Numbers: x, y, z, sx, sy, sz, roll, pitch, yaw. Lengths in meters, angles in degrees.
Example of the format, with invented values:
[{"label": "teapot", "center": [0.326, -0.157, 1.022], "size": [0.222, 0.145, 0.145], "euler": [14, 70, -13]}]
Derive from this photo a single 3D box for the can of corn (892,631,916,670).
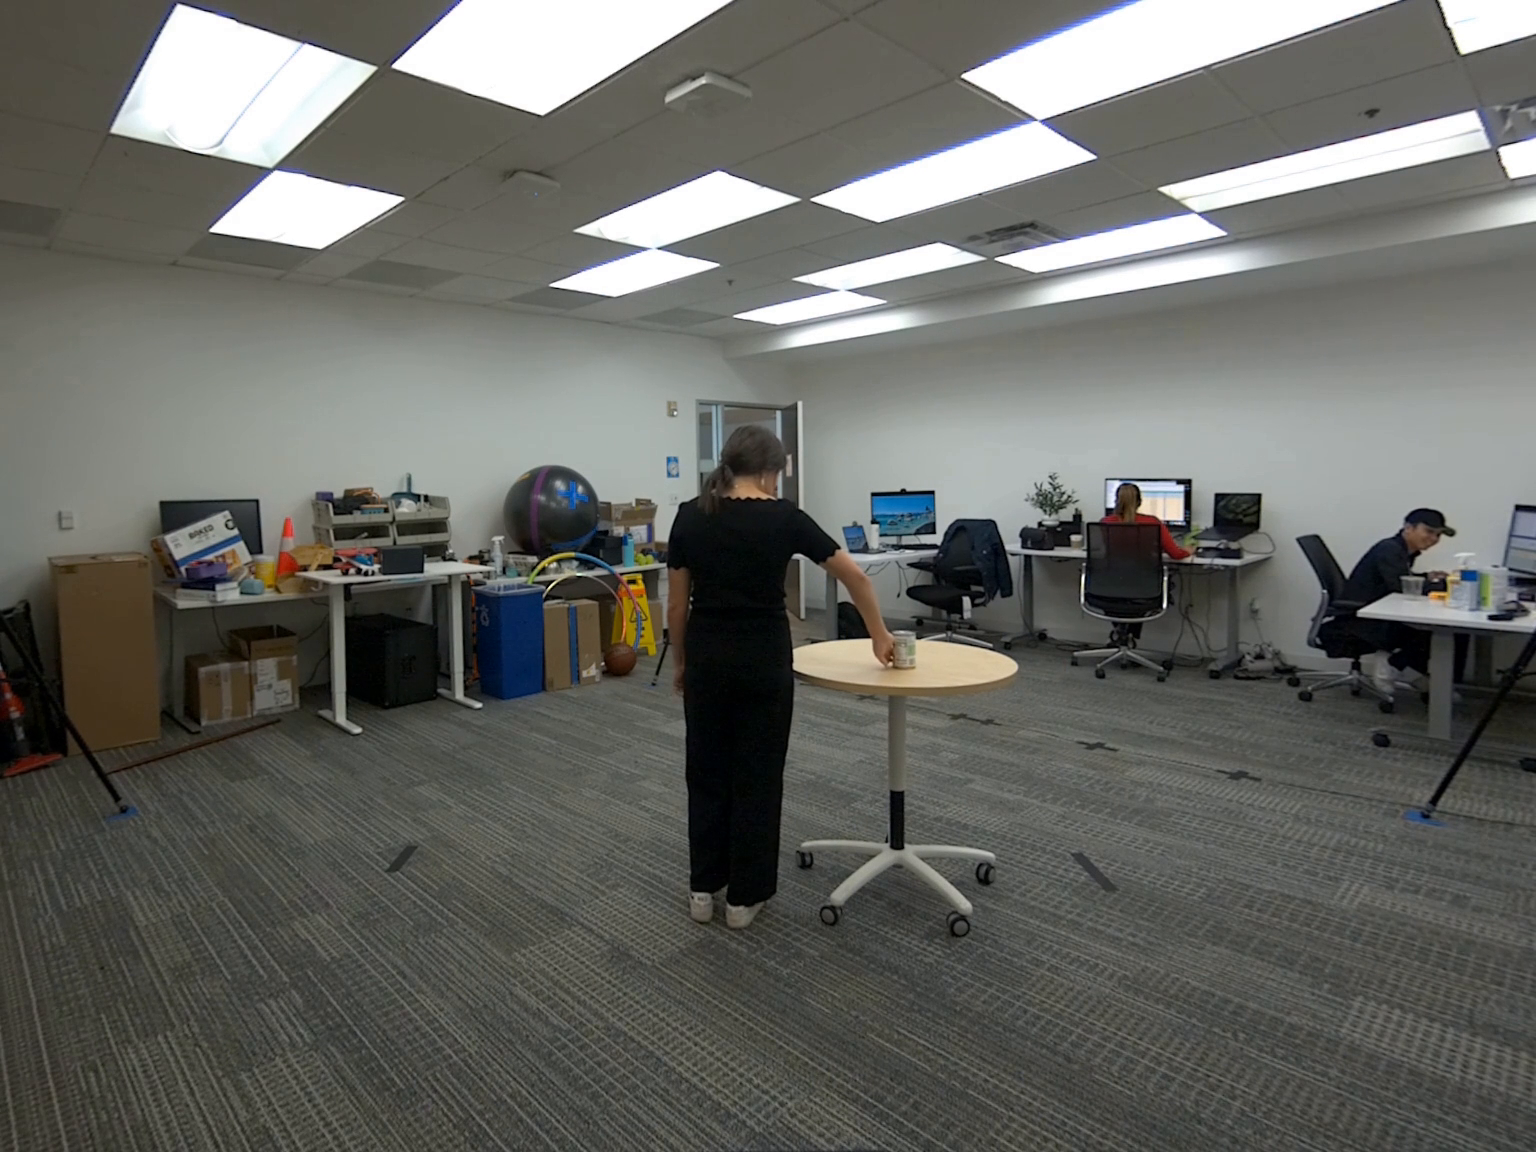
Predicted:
[{"label": "can of corn", "center": [0.433, 0.240, 2.731], "size": [0.074, 0.110, 0.075], "euler": [0, 9, -2]}]
